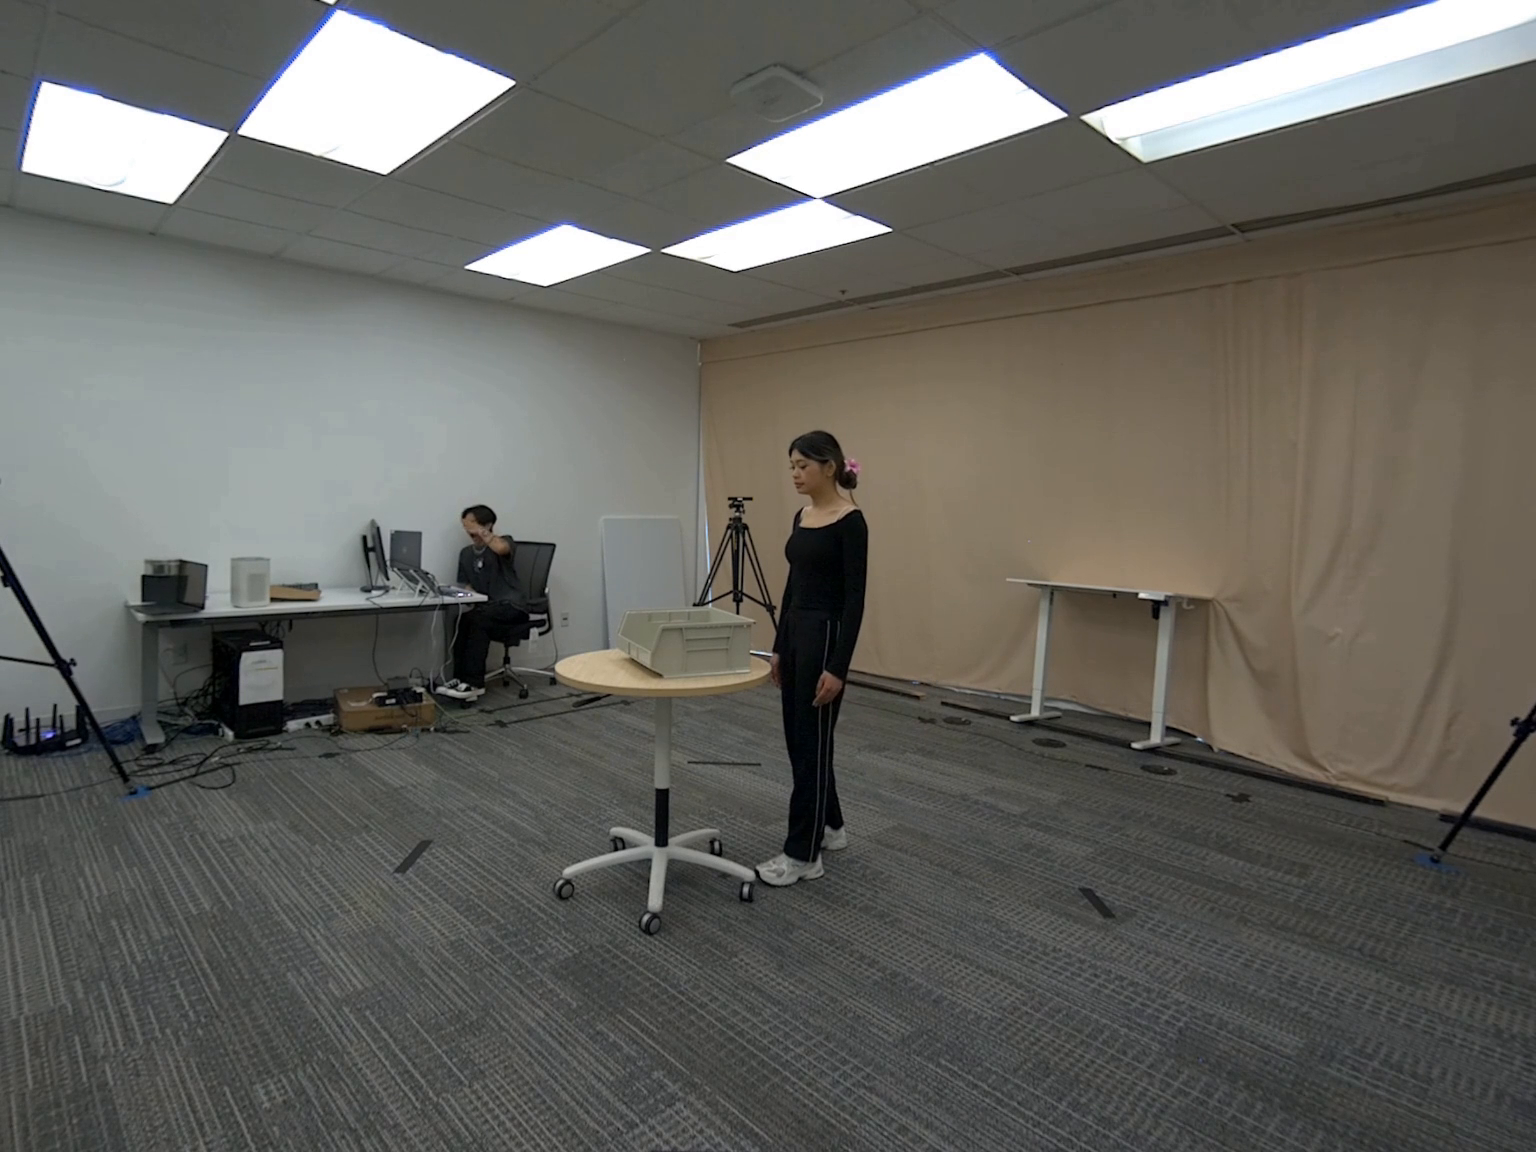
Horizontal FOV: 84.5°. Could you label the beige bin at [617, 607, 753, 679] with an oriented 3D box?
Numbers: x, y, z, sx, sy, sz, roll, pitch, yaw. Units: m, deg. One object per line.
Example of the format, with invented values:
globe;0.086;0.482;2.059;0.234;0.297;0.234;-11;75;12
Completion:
beige bin;-0.307;0.230;2.996;0.371;0.188;0.431;0;4;-25
